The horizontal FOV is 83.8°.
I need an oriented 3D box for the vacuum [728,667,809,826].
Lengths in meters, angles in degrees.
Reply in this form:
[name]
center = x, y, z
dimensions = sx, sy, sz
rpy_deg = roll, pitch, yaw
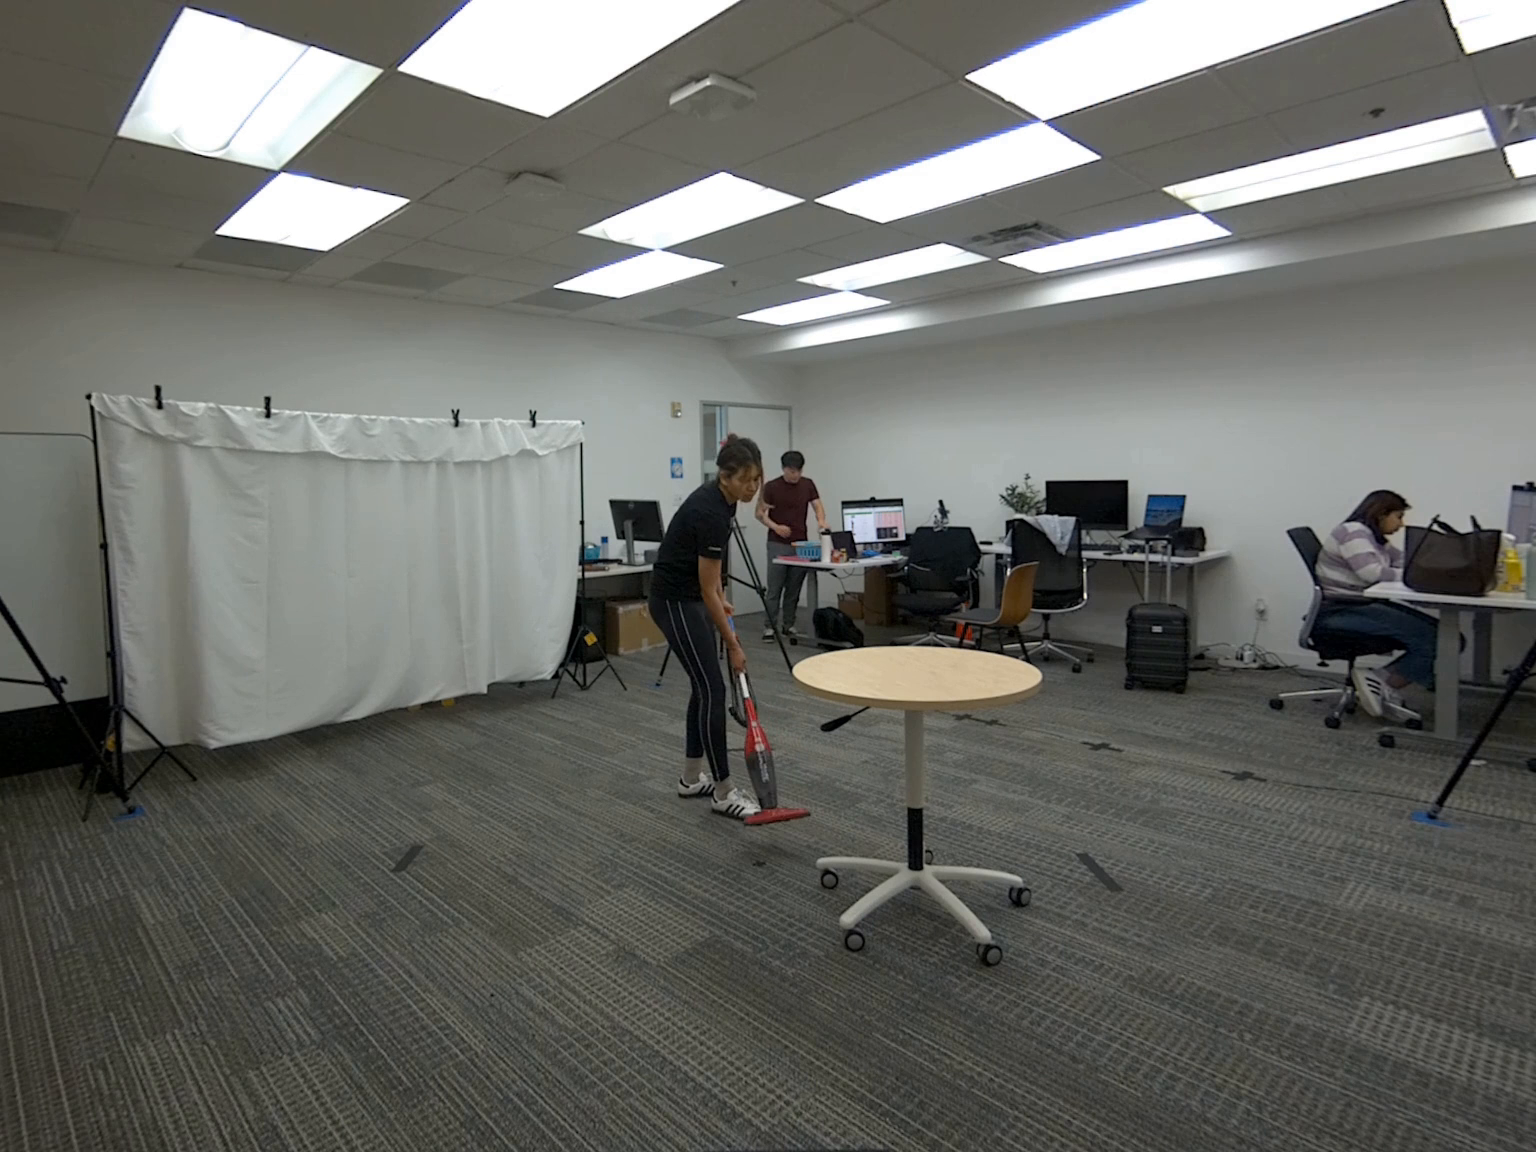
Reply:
[vacuum]
center = -0.079, 0.536, 3.553
dimensions = 0.250, 0.140, 1.085
rpy_deg = -6, 47, -10
